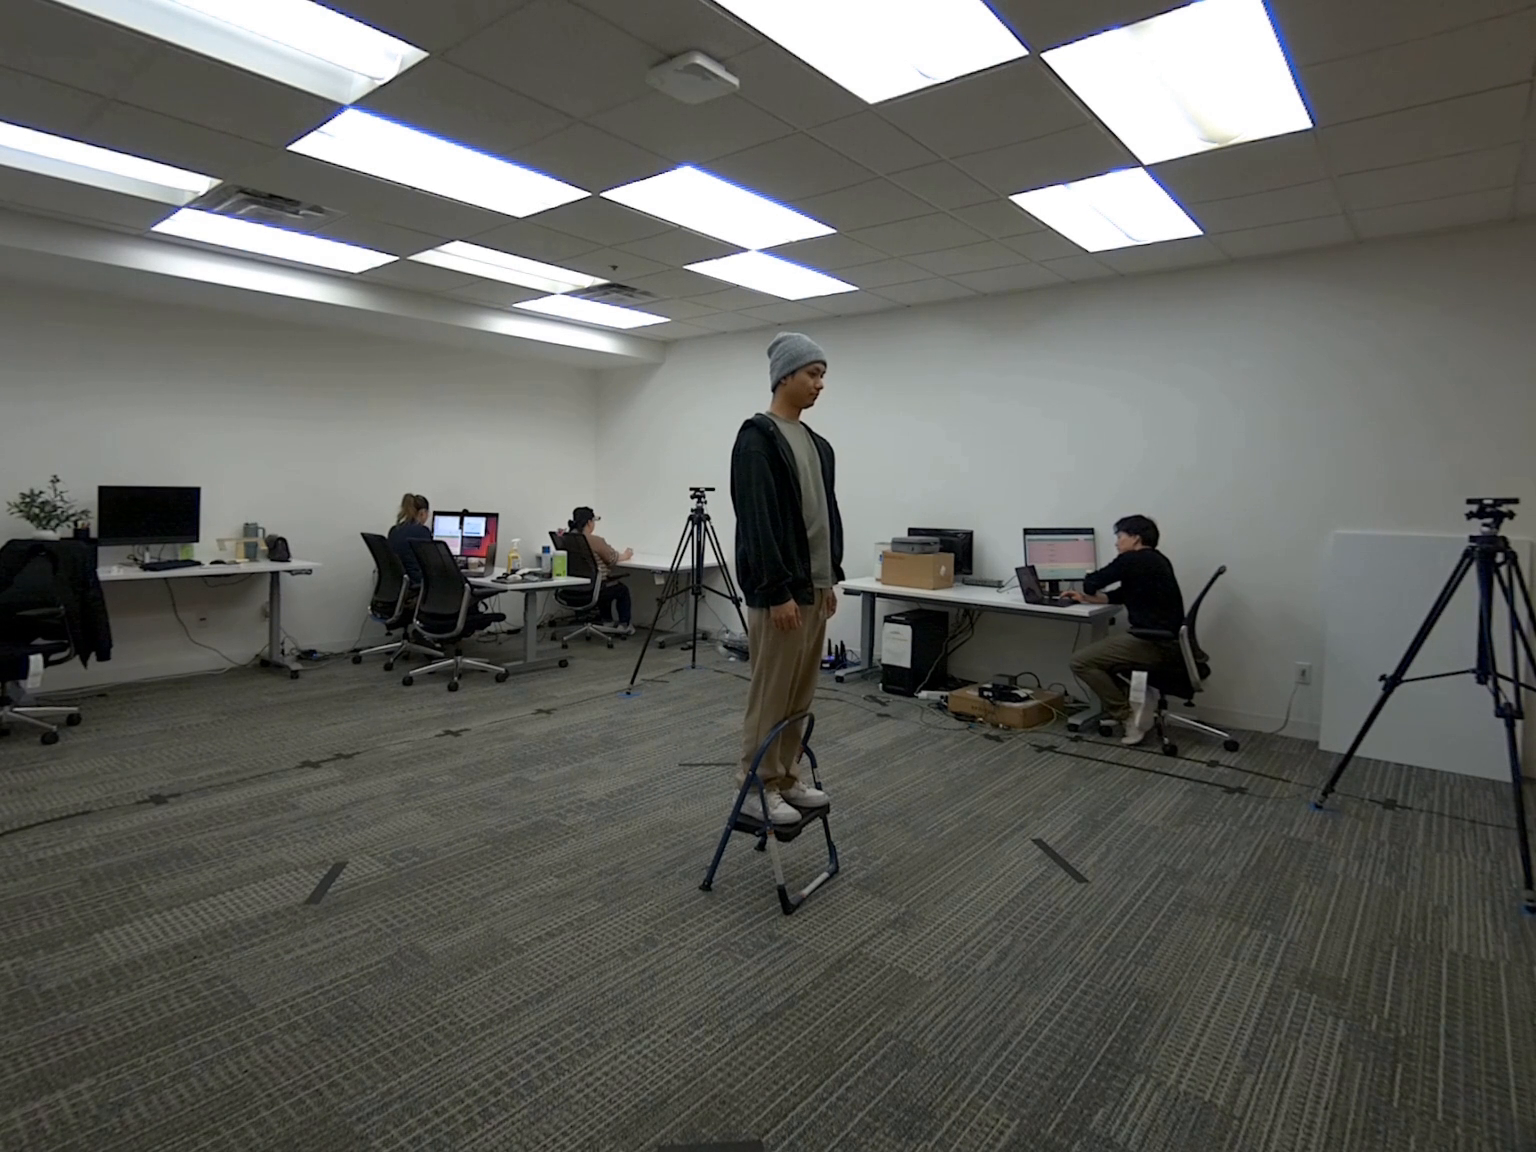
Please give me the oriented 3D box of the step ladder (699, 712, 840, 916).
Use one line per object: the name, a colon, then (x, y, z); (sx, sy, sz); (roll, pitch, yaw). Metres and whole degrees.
step ladder: (0.016, 0.778, 3.016); (0.359, 0.604, 0.420); (4, 5, 29)
